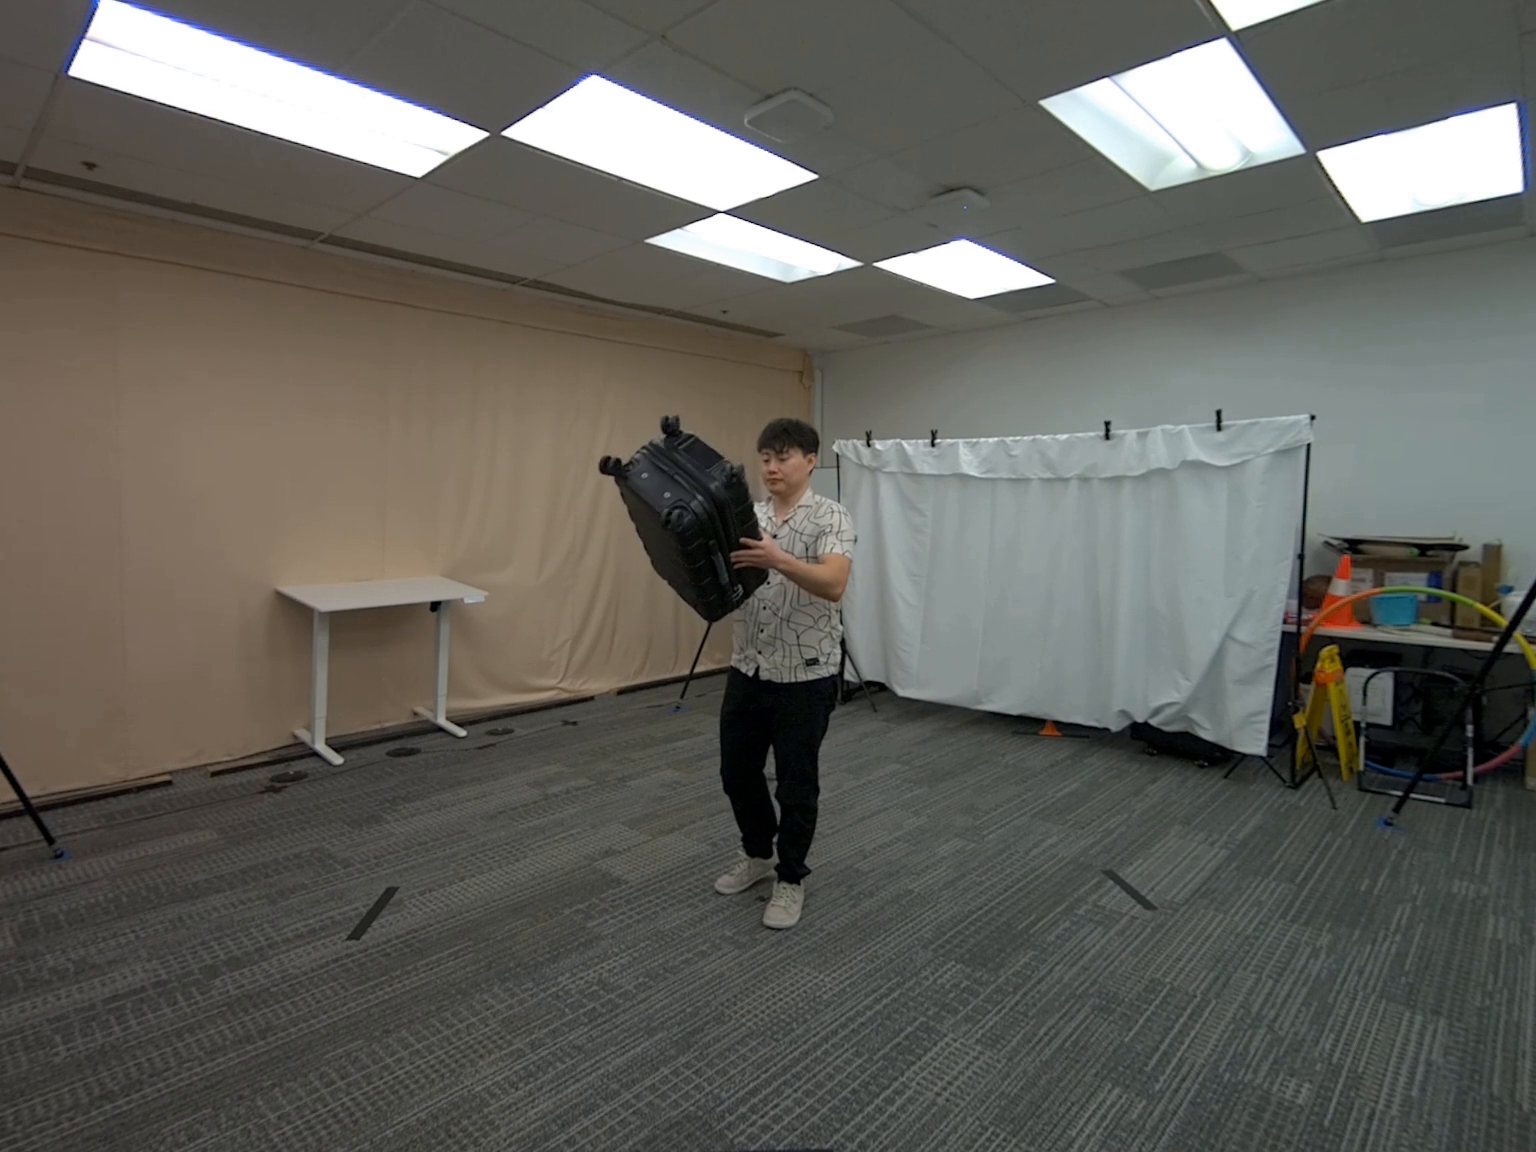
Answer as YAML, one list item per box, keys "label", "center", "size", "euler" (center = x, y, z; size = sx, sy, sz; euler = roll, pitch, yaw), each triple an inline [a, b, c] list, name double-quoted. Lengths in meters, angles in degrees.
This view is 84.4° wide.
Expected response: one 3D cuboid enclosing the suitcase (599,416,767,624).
- label: "suitcase"
  center: [-0.212, -0.145, 2.430]
  size: [0.246, 0.535, 0.388]
  euler: [-36, 54, -15]
